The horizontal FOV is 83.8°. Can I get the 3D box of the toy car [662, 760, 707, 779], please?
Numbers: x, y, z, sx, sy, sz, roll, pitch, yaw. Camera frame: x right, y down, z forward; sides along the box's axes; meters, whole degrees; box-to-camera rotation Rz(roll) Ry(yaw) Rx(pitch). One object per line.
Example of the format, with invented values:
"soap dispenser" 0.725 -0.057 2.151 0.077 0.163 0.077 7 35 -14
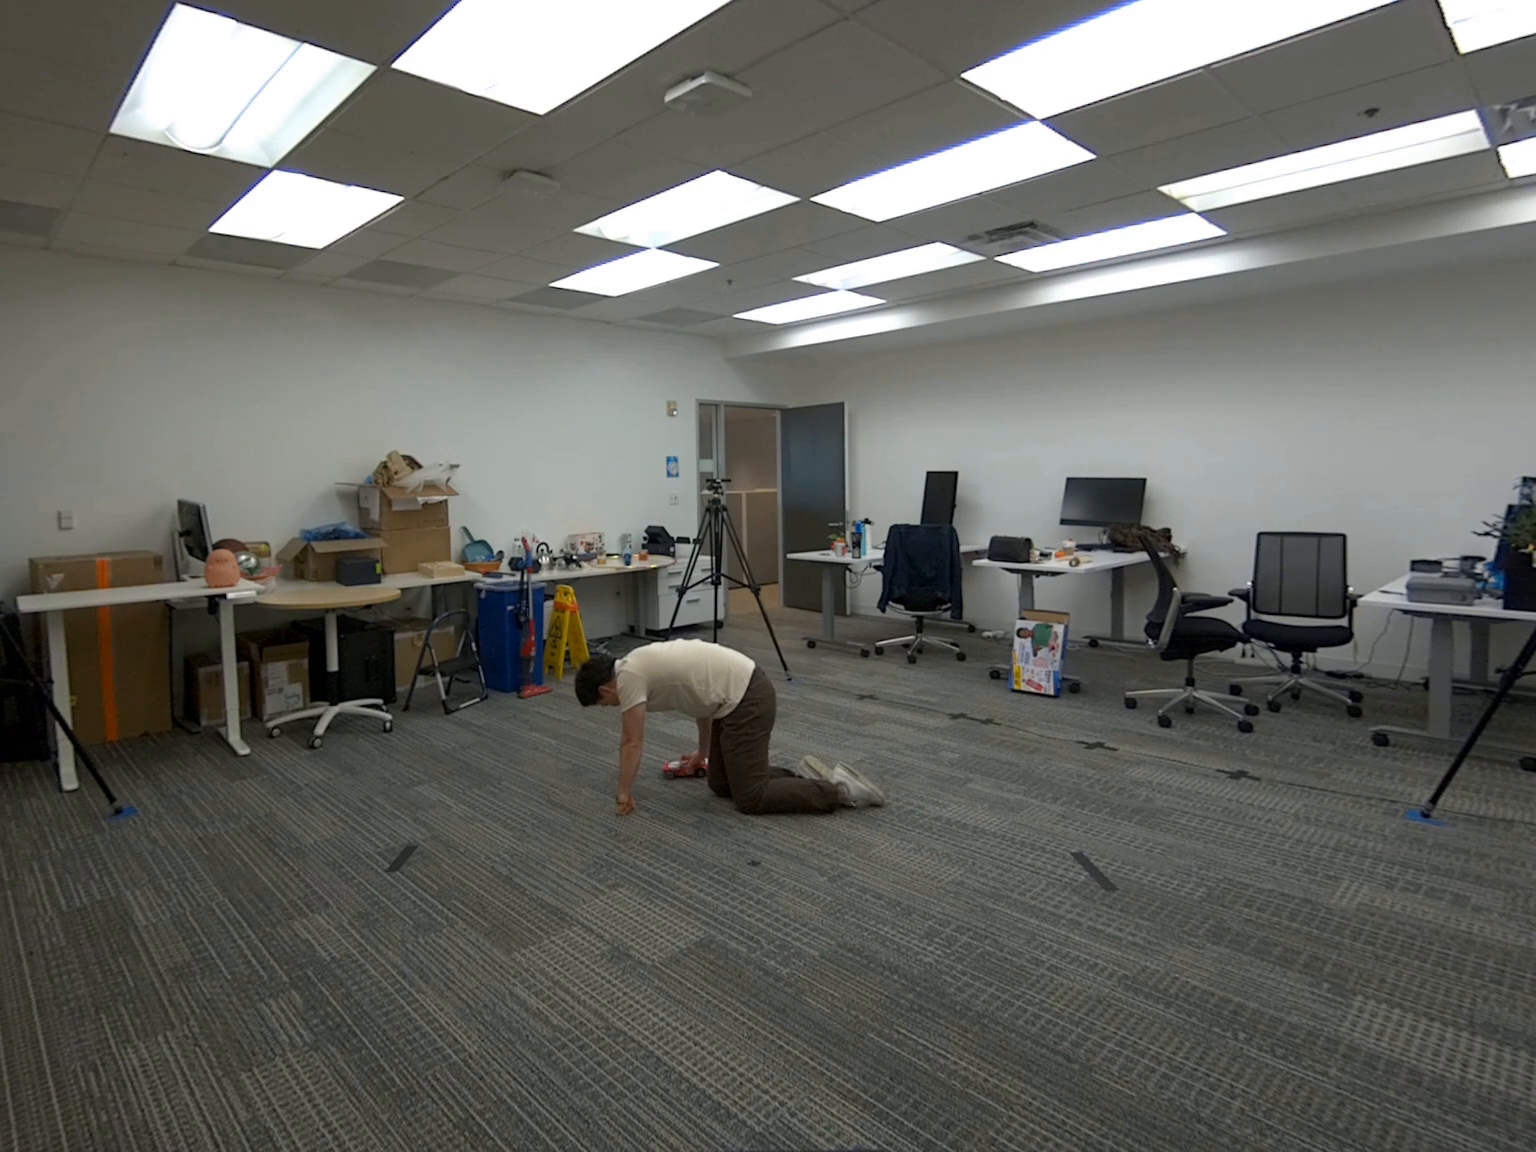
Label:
"toy car" -0.377 0.914 4.067 0.254 0.083 0.131 -11 6 -1
